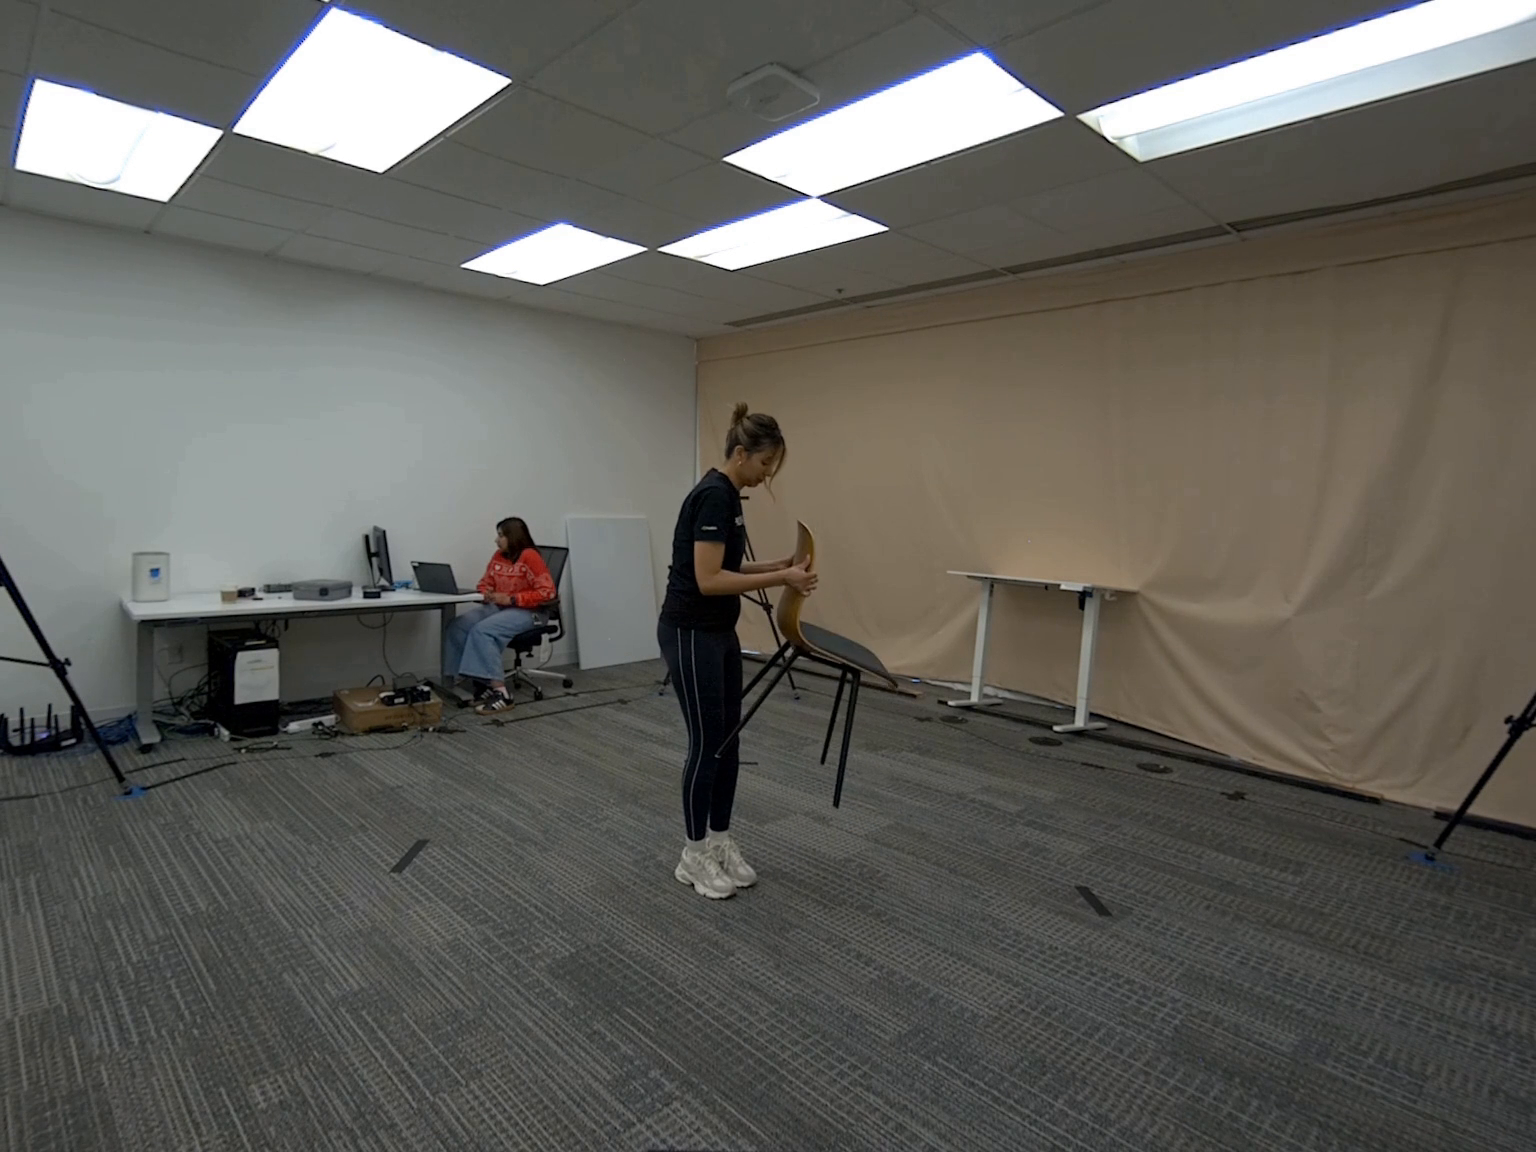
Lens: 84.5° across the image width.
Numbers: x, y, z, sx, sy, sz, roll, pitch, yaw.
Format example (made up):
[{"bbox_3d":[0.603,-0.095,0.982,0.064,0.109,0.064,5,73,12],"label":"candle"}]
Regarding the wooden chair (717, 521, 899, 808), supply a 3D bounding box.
[{"bbox_3d":[0.198,0.297,3.043,0.522,0.876,0.480,19,3,-3],"label":"wooden chair"}]
